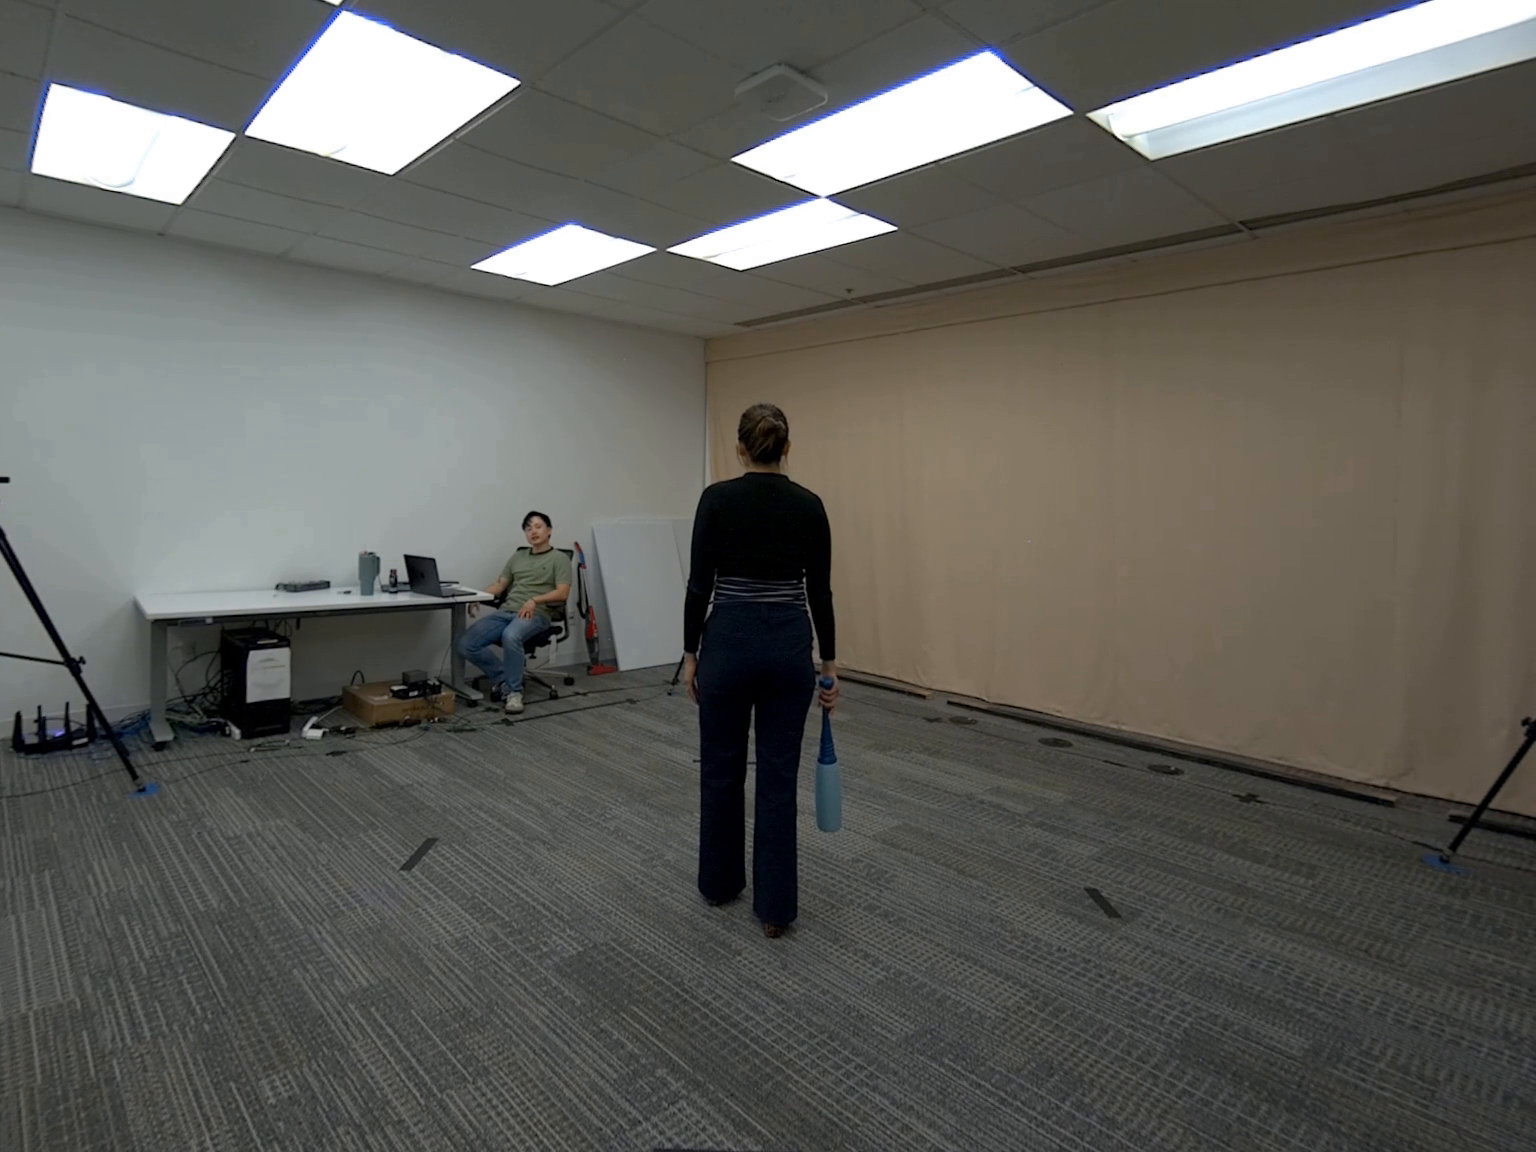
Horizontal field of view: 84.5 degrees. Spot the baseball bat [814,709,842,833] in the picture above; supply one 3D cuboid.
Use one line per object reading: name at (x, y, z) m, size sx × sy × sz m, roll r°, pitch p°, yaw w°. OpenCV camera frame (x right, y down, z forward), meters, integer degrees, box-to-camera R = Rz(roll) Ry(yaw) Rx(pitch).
baseball bat at (0.188, 0.609, 2.870) m, size 0.089 × 0.539 × 0.090 m, roll -1°, pitch 10°, yaw -1°
